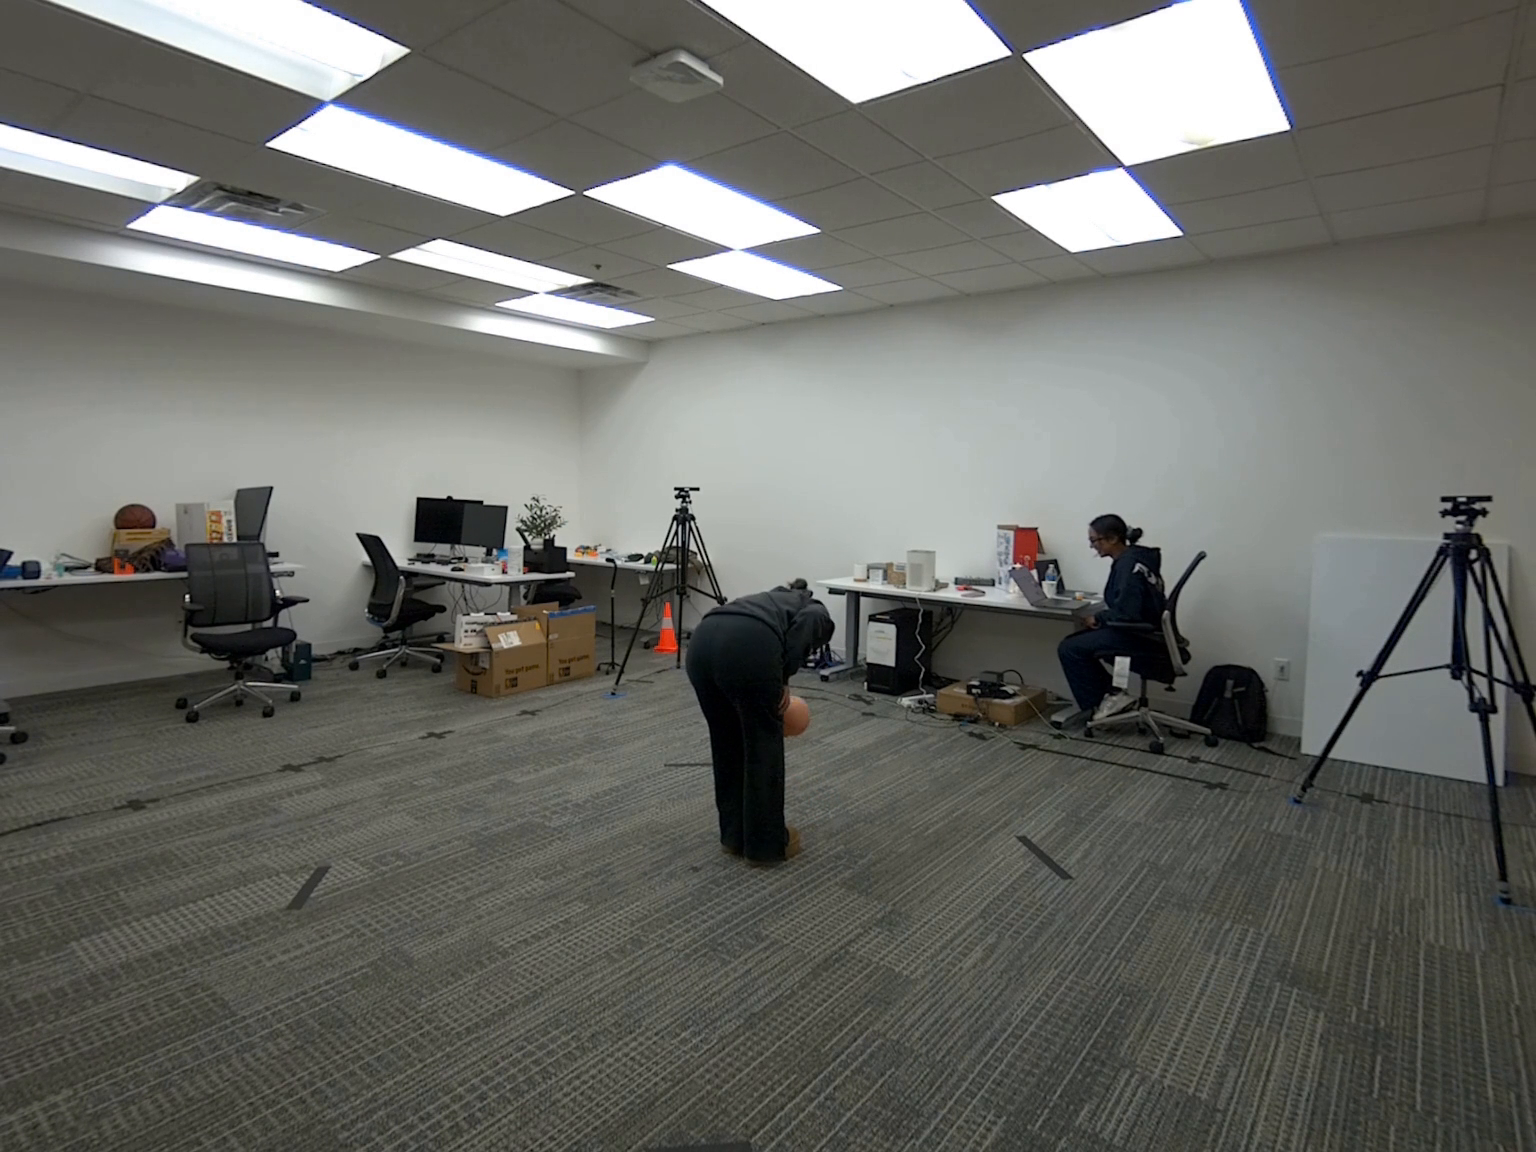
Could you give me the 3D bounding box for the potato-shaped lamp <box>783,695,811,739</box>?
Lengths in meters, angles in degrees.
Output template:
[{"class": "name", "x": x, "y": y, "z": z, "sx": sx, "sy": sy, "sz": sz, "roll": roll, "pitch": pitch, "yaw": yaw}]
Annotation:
[{"class": "potato-shaped lamp", "x": 0.080, "y": 0.580, "z": 3.602, "sx": 0.165, "sy": 0.177, "sz": 0.190, "roll": -34, "pitch": -29, "yaw": 13}]
